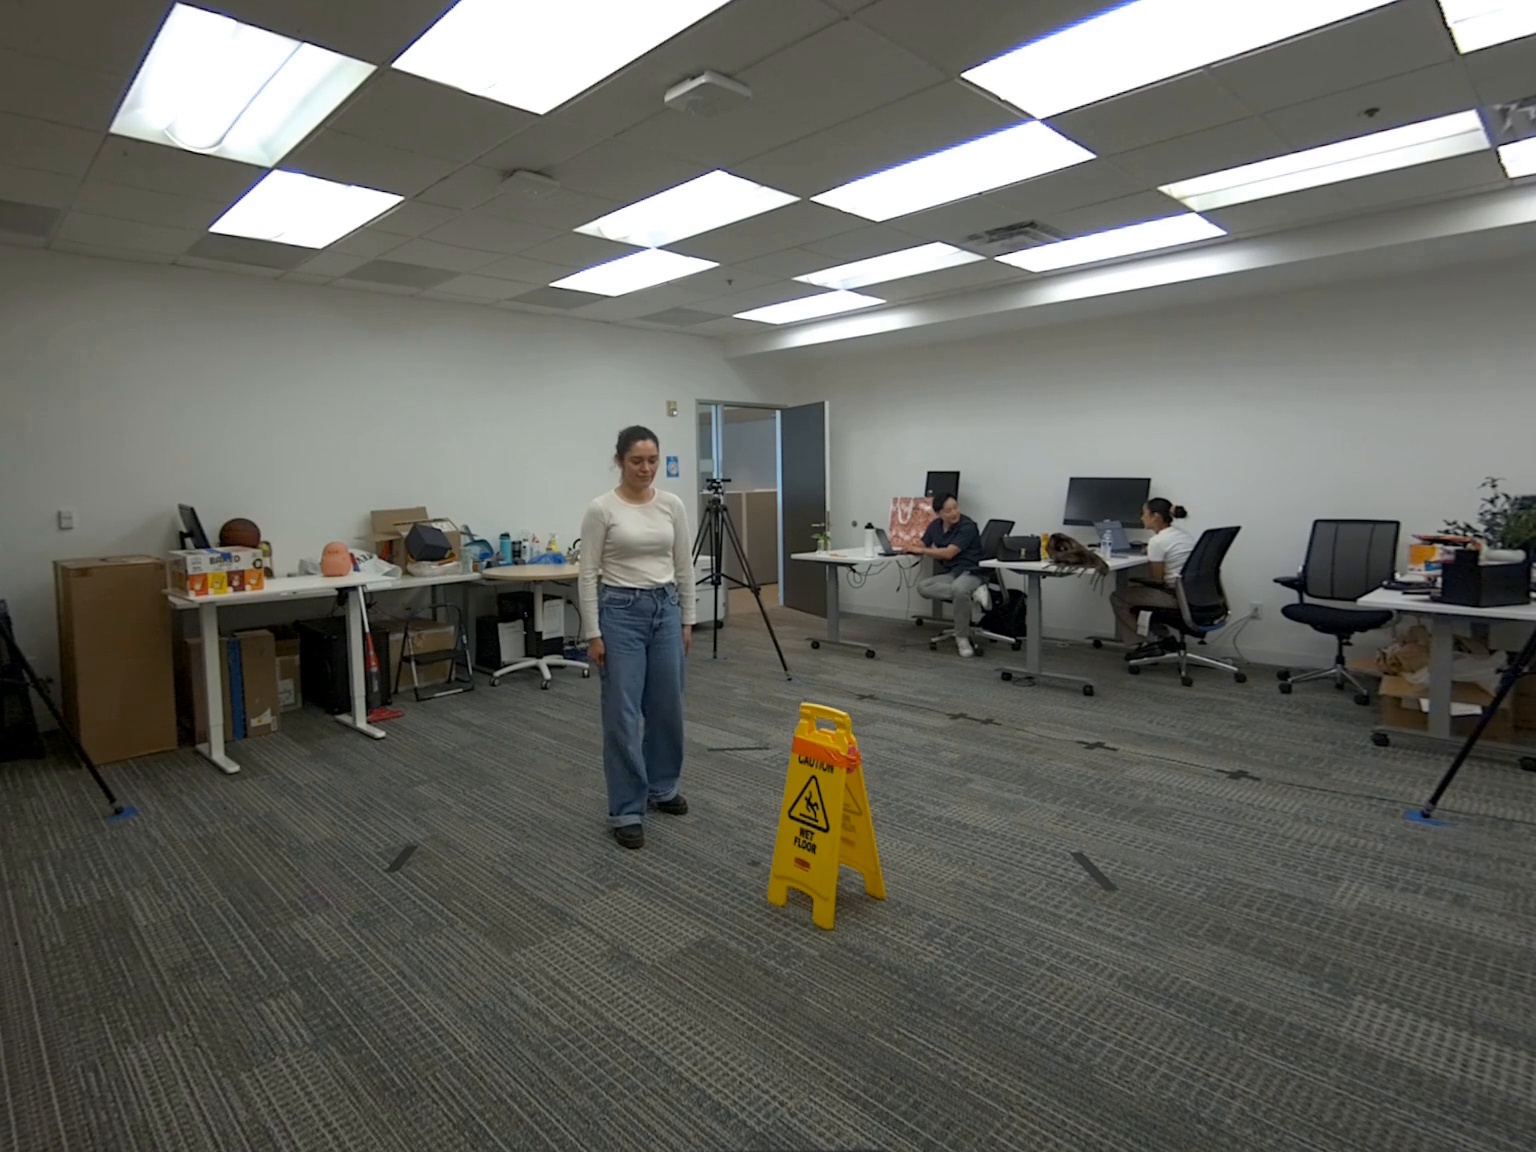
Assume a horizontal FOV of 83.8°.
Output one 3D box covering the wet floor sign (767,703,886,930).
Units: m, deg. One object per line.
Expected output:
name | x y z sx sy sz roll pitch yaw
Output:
wet floor sign | 0.191 0.751 2.805 0.282 0.644 0.291 -5 5 -44
